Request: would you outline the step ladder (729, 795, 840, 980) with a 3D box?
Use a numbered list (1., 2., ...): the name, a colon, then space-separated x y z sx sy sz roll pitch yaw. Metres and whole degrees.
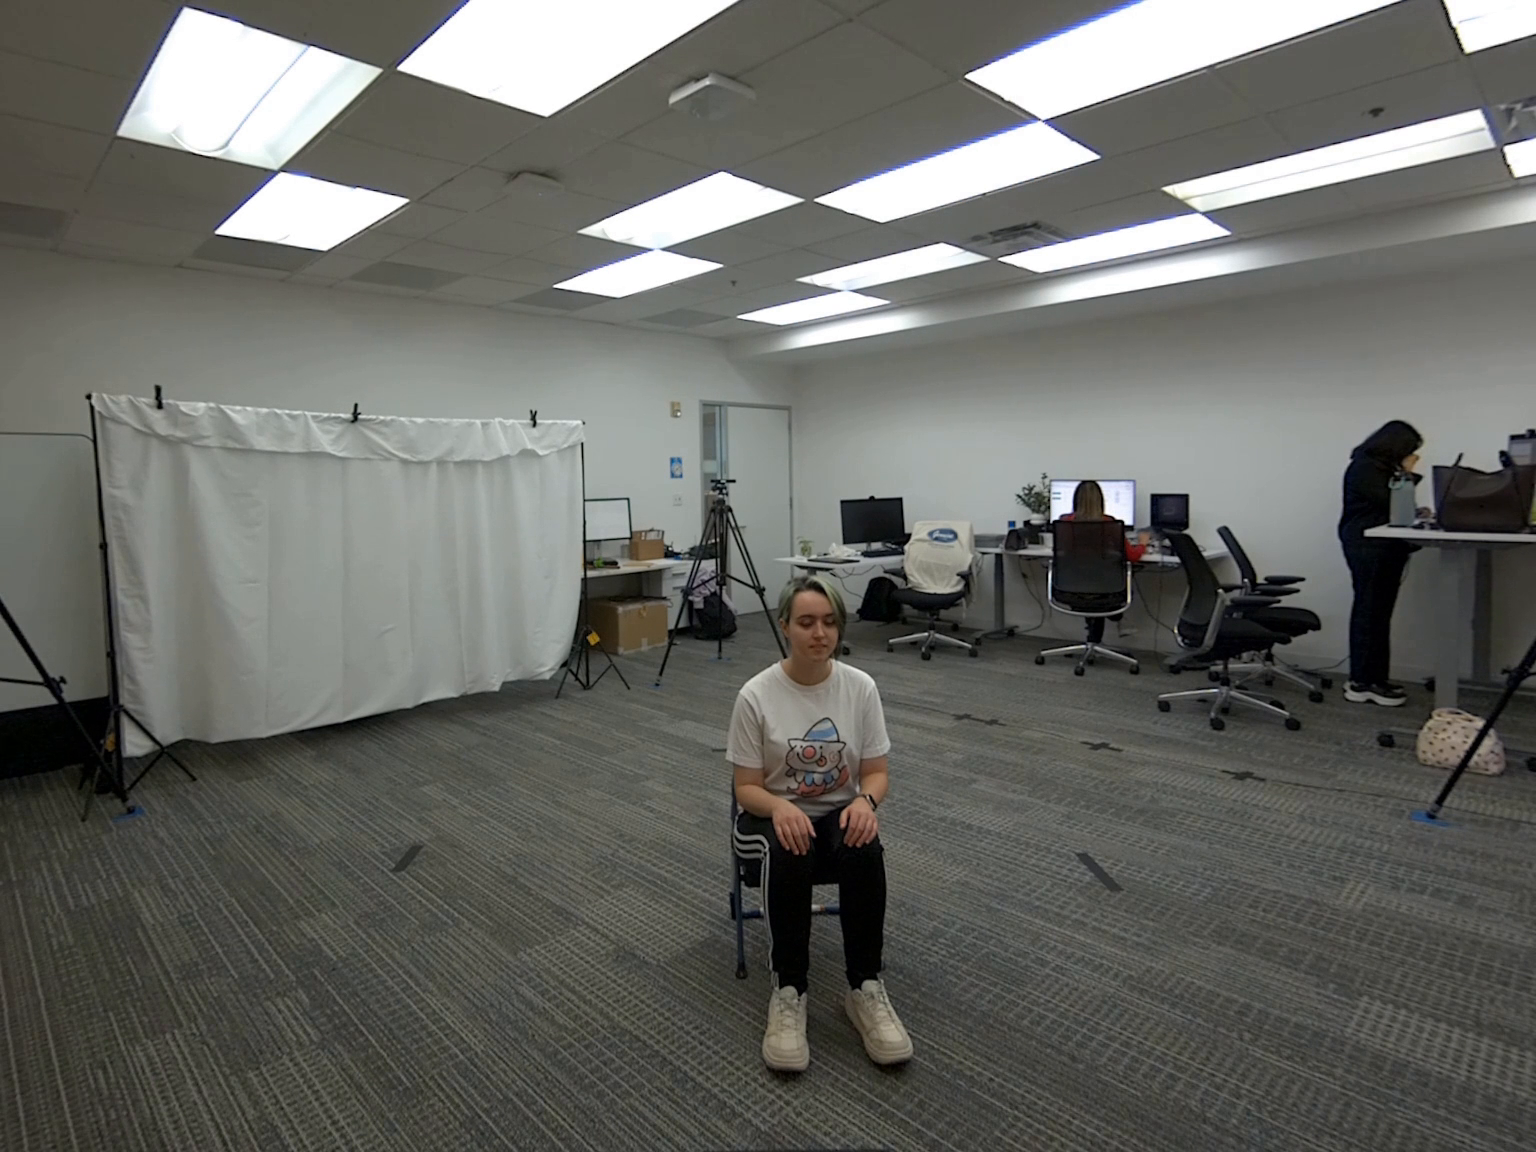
1. step ladder: 0.107 0.810 2.567 0.429 0.603 0.352 -2 5 -5
